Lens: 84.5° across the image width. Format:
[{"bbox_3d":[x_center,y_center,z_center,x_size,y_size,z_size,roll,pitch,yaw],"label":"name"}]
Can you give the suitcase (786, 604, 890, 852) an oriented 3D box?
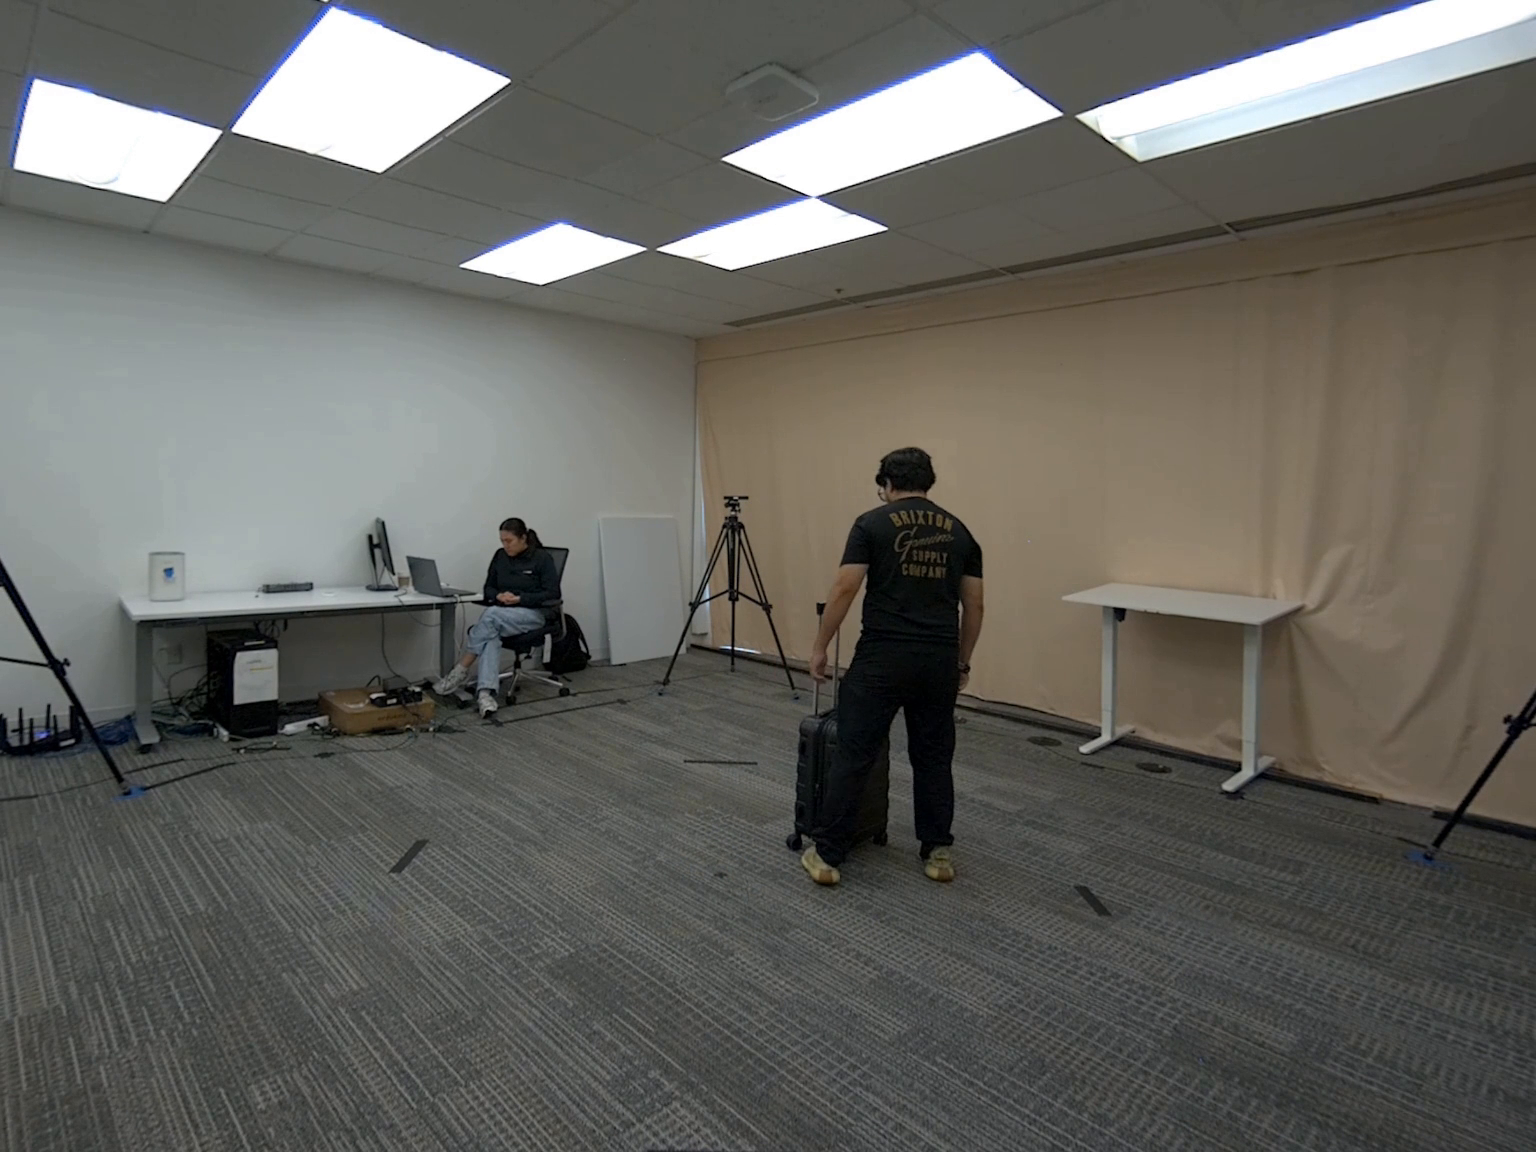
[{"bbox_3d":[0.312,0.614,3.389,0.264,0.977,0.375,6,4,40],"label":"suitcase"}]
